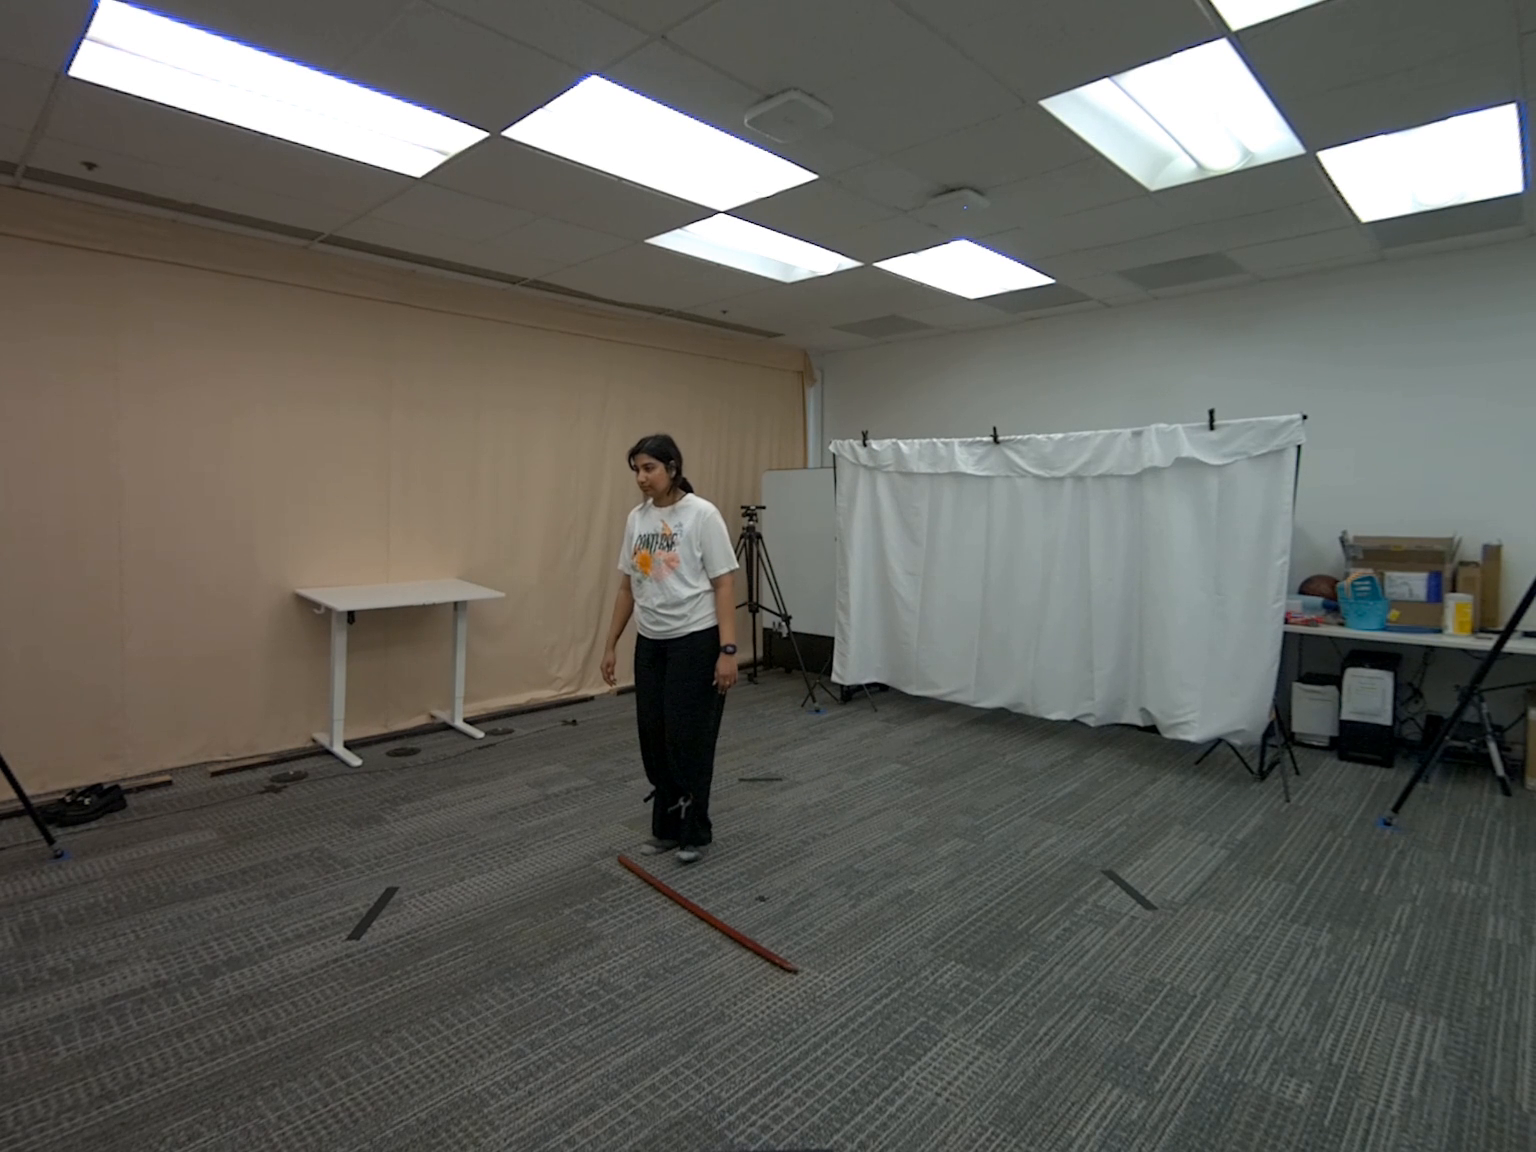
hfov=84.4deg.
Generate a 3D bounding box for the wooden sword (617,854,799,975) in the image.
[{"bbox_3d":[-0.251,1.128,2.910,0.049,0.024,1.058,16,-6,-39],"label":"wooden sword"}]
